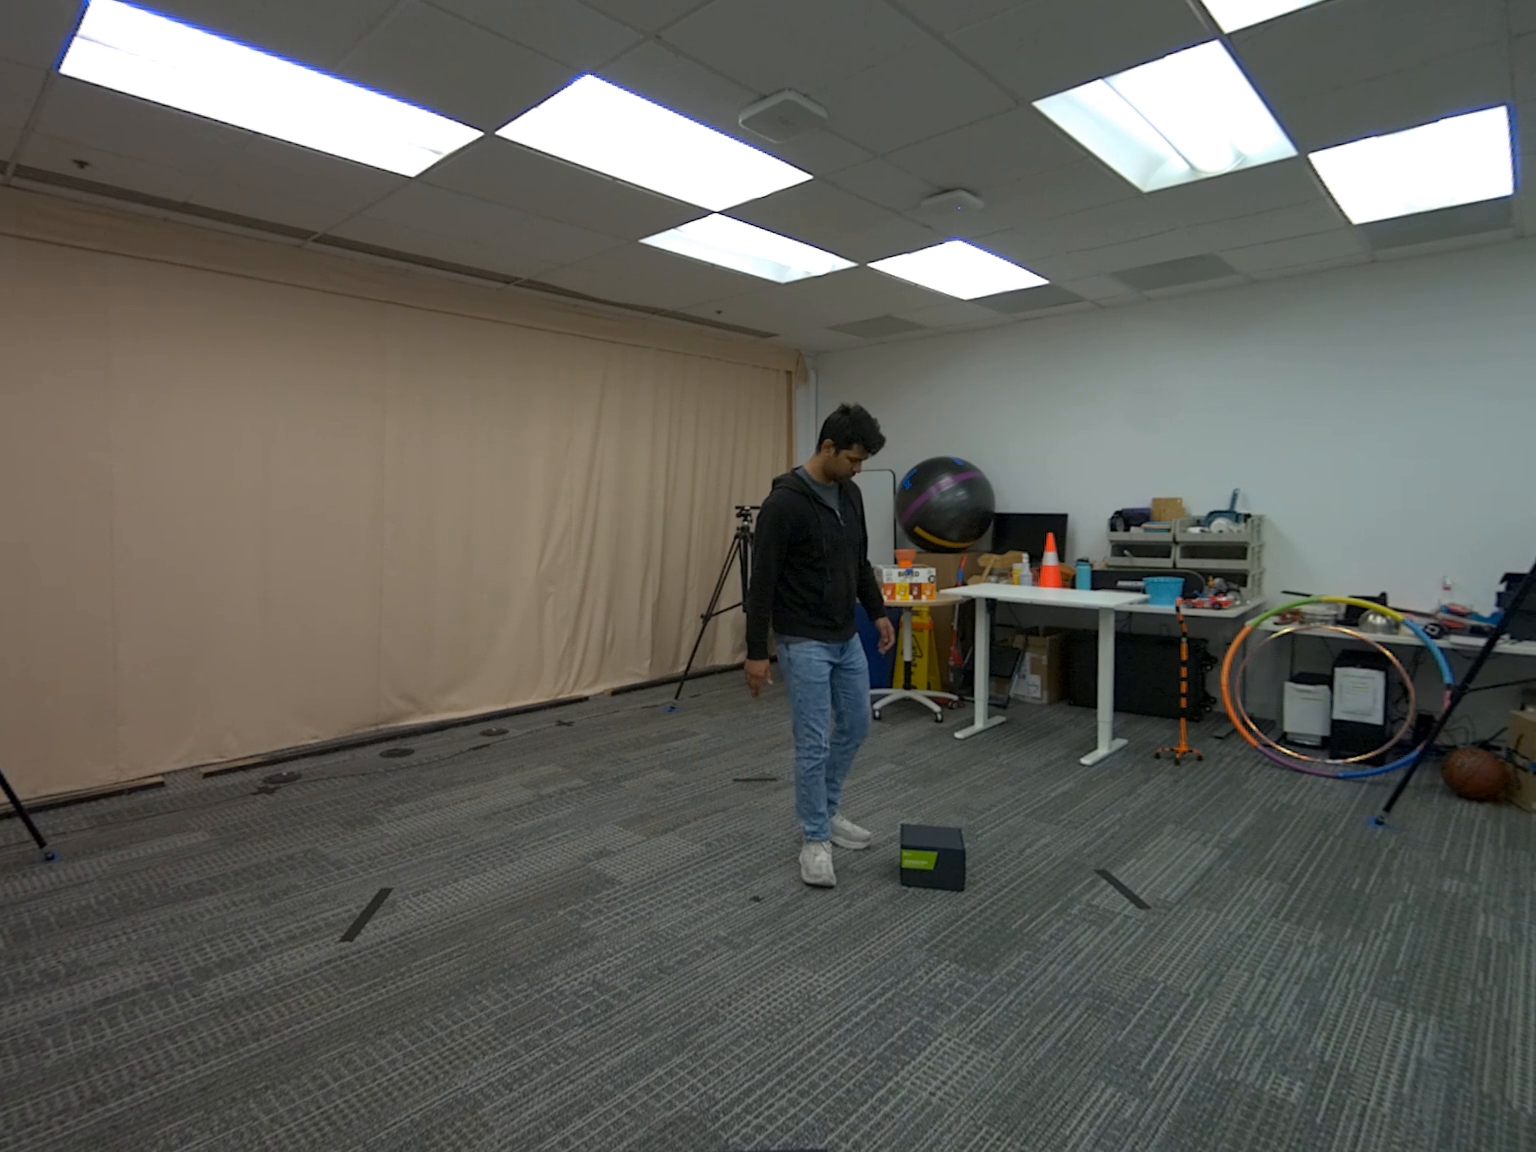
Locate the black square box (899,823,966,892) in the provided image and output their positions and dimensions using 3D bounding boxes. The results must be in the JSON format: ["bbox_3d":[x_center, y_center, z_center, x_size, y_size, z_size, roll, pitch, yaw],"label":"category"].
[{"bbox_3d":[0.613,1.043,3.150,0.231,0.155,0.215,1,5,11],"label":"black square box"}]
